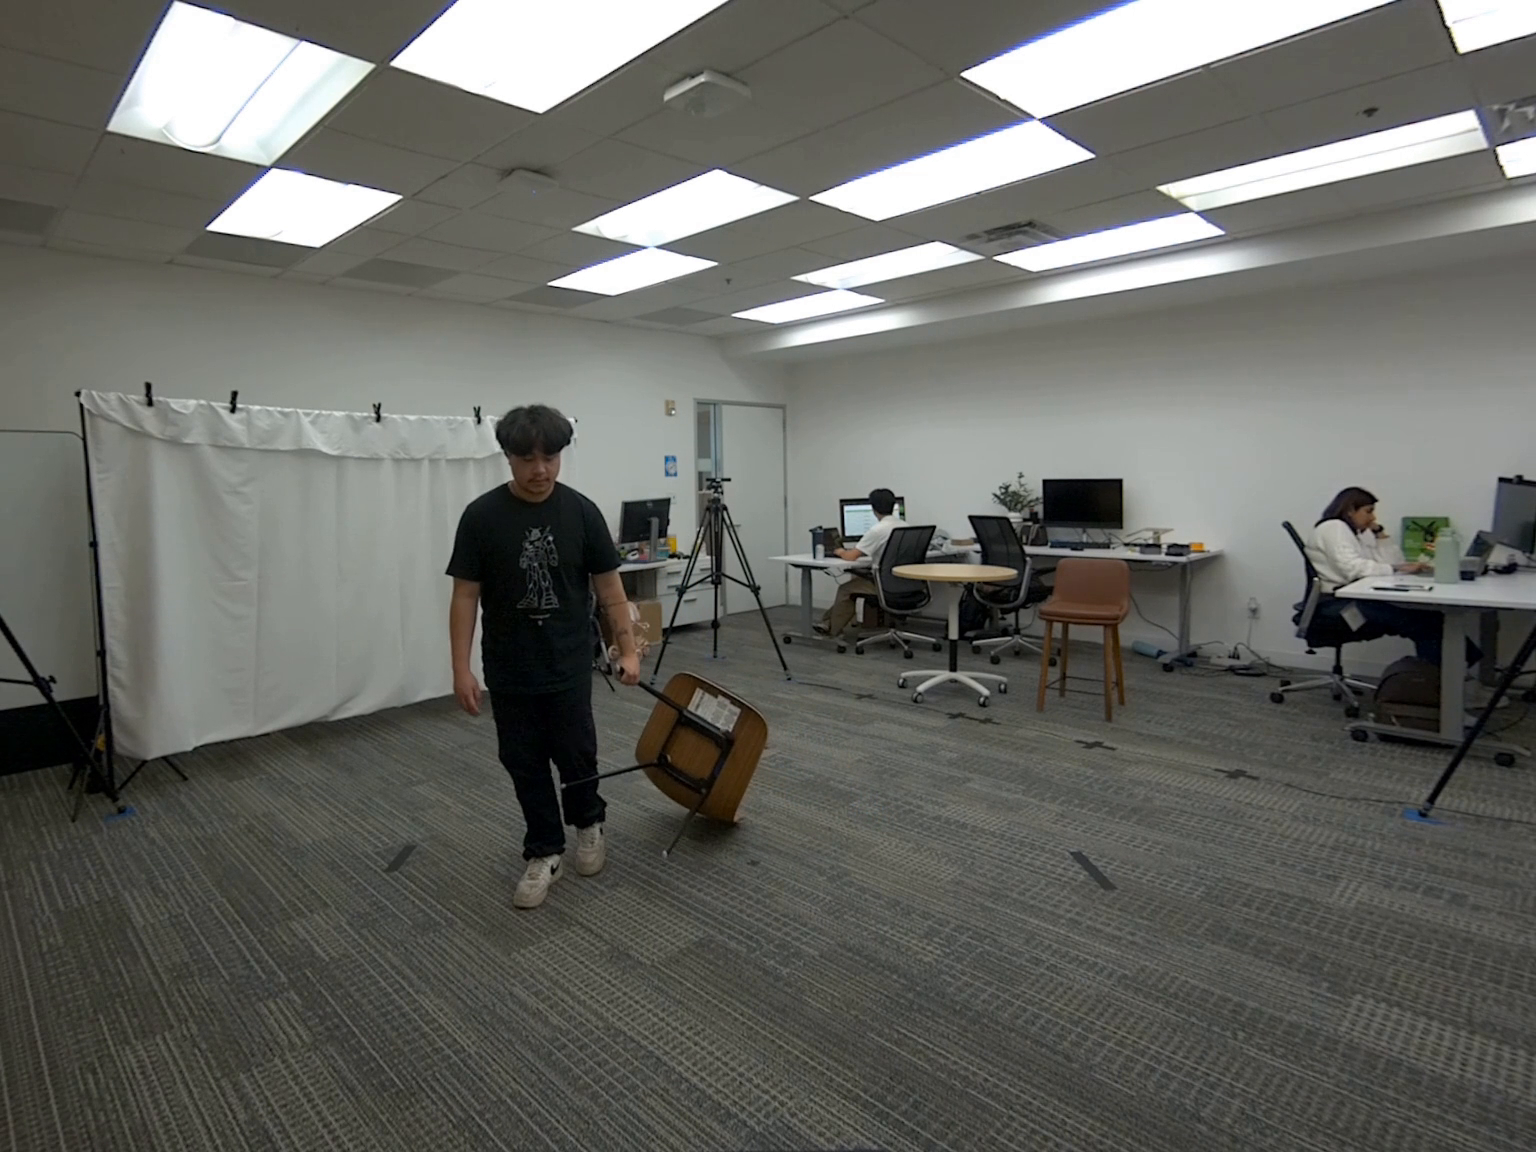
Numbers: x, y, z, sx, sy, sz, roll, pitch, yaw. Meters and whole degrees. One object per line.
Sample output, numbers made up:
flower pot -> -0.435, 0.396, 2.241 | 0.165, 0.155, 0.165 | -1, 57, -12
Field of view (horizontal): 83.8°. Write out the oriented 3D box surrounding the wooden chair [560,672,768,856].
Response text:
wooden chair -> -0.277, 0.655, 3.189 | 0.491, 0.524, 0.853 | 24, -4, 21
